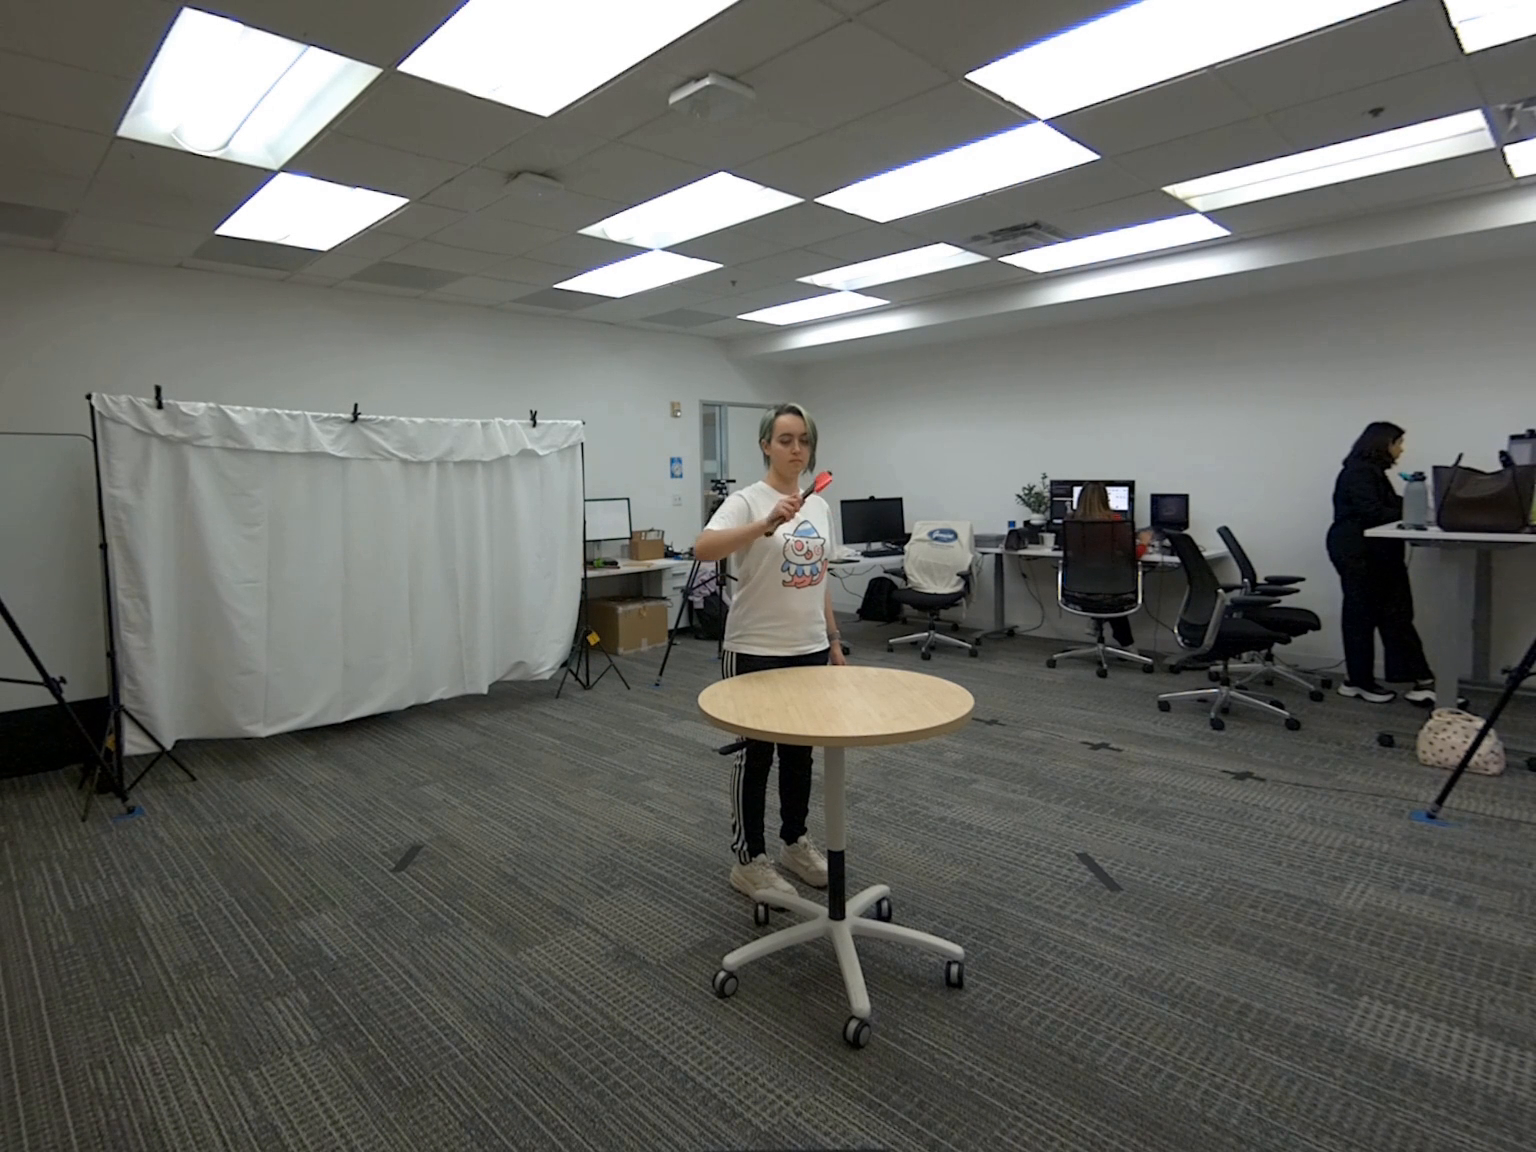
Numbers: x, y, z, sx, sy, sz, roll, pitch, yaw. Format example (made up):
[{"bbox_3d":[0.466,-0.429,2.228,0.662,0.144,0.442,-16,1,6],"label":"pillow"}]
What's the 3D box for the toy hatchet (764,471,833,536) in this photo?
[{"bbox_3d":[0.105,-0.214,2.512,0.270,0.029,0.133,-49,16,-21],"label":"toy hatchet"}]
